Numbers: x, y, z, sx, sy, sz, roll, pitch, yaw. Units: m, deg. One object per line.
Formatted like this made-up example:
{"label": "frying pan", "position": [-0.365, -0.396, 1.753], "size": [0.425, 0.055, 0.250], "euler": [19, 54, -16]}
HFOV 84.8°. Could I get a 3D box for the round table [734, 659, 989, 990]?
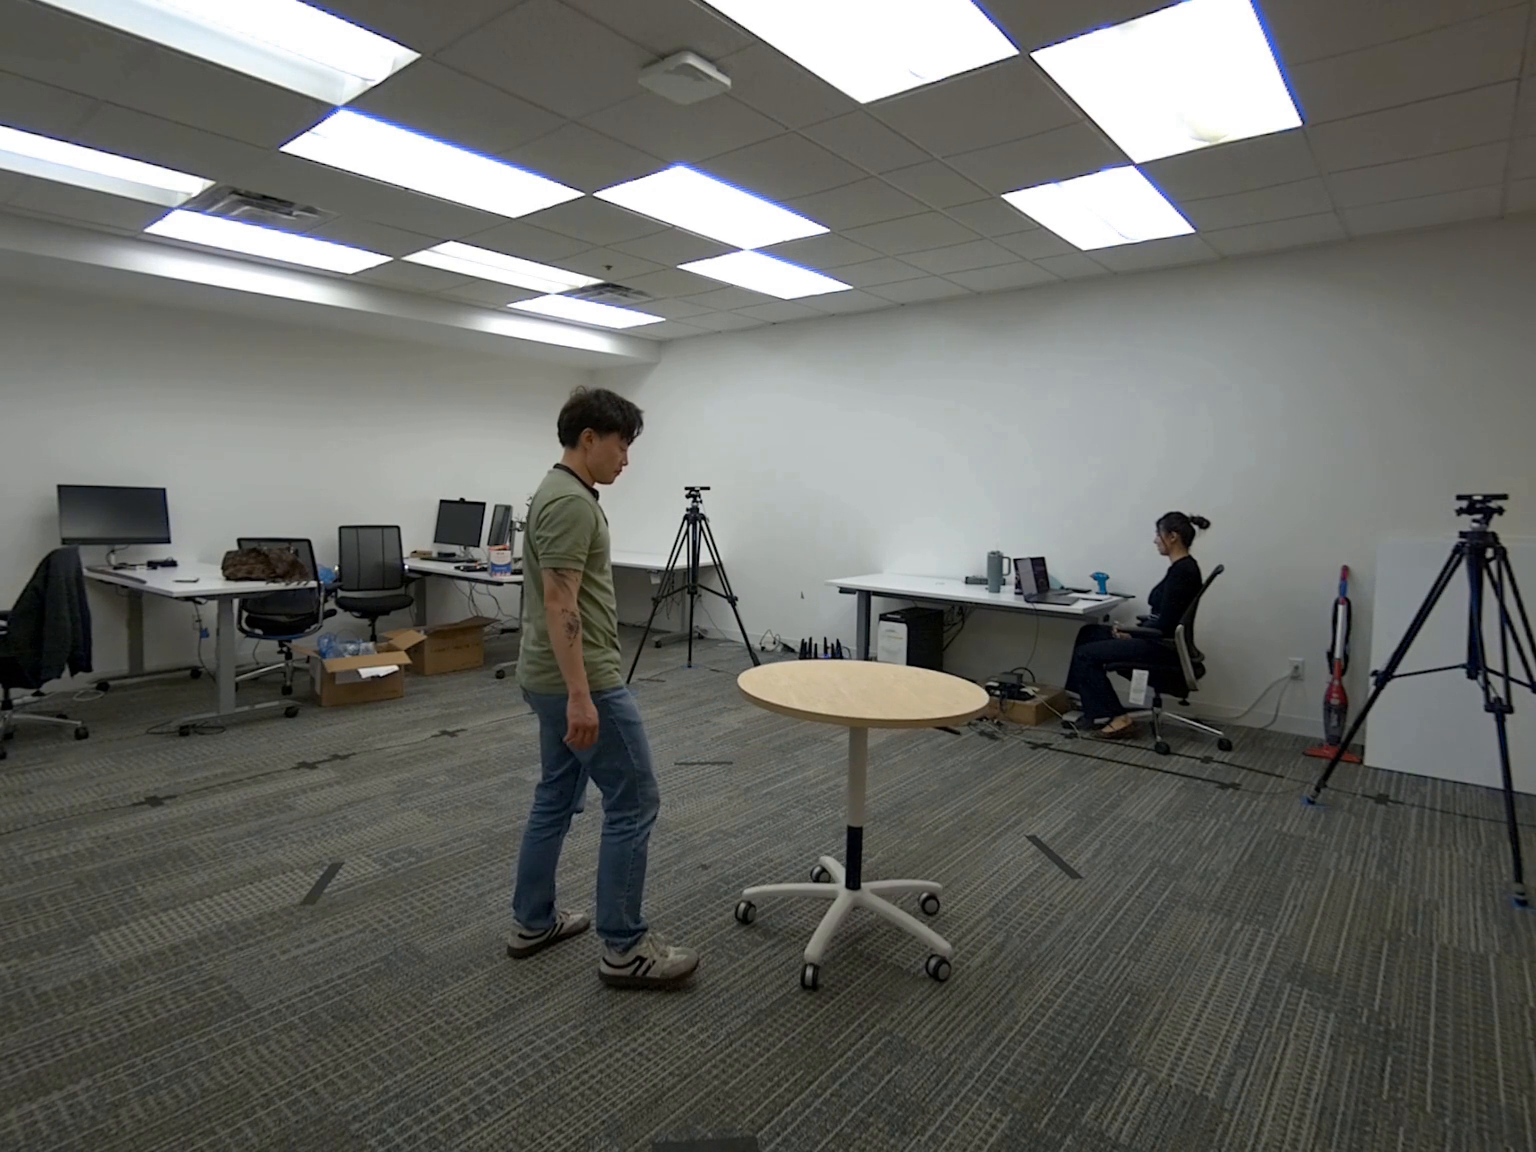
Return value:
{"label": "round table", "position": [0.255, 0.727, 2.663], "size": [0.763, 0.791, 0.768], "euler": [1, 4, -2]}
